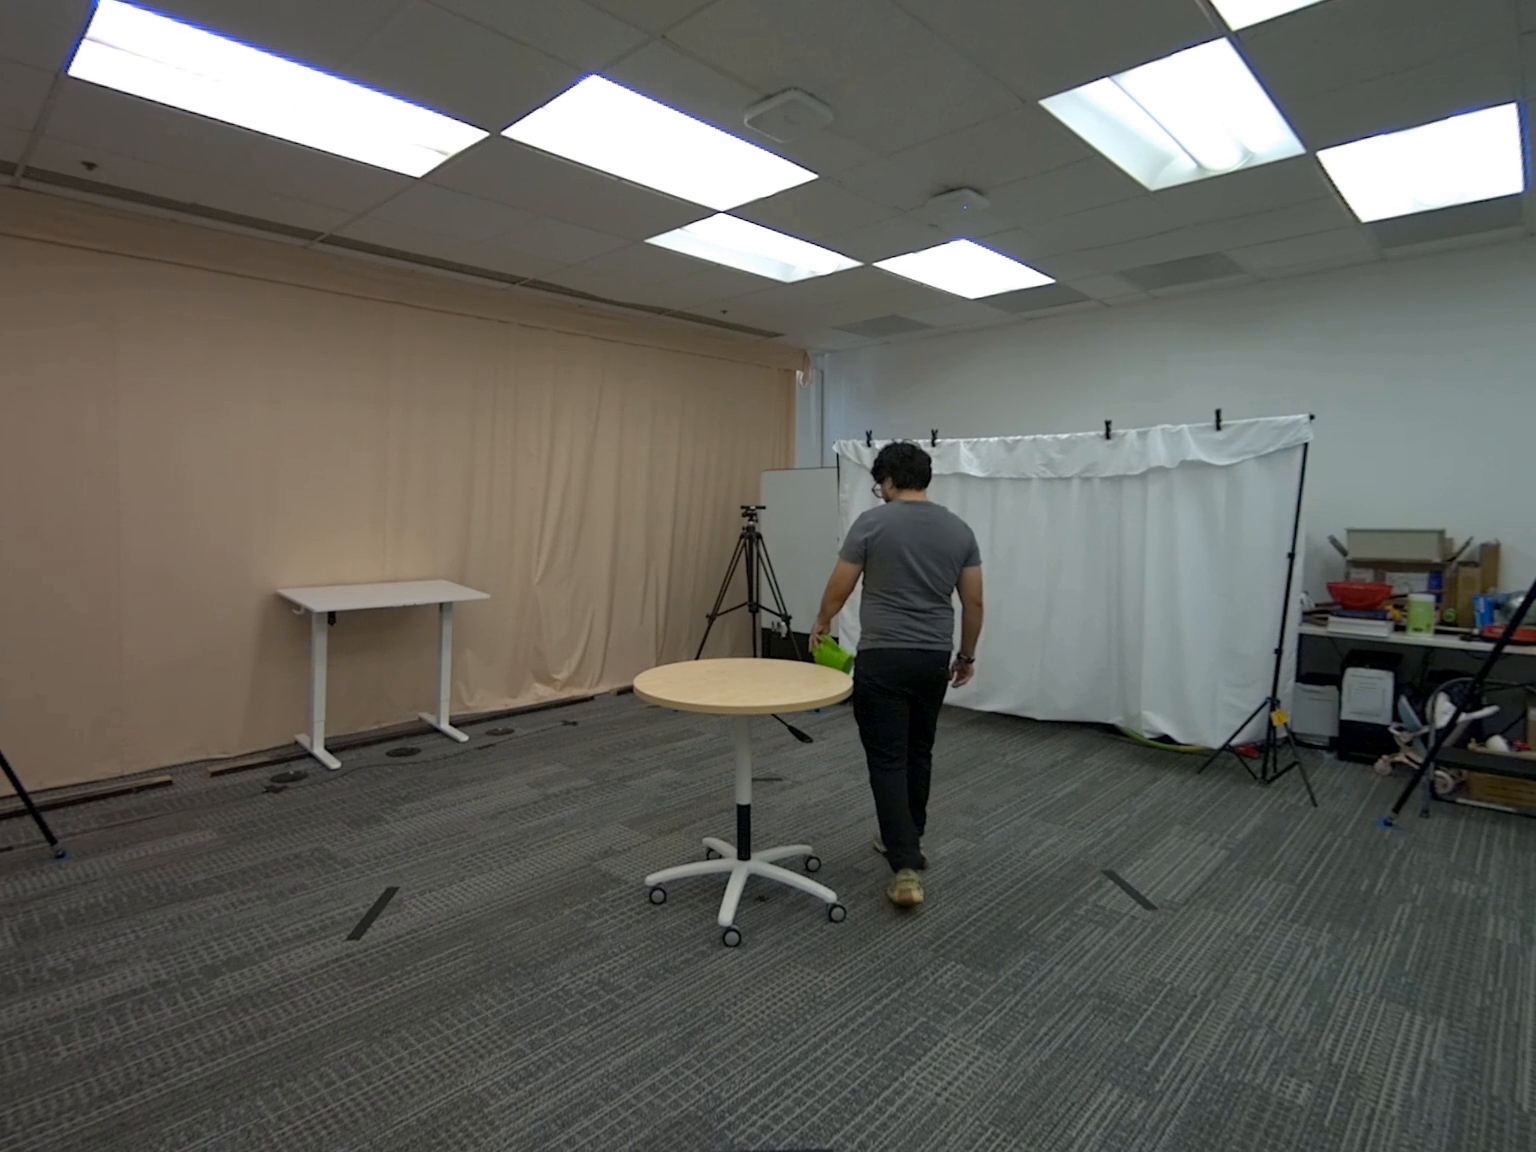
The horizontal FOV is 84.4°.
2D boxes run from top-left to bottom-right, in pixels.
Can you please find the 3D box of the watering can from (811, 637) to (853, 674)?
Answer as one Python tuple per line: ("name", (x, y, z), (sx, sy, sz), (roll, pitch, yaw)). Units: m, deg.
("watering can", (0.259, 0.346, 3.426), (0.182, 0.272, 0.097), (34, 64, 27))
